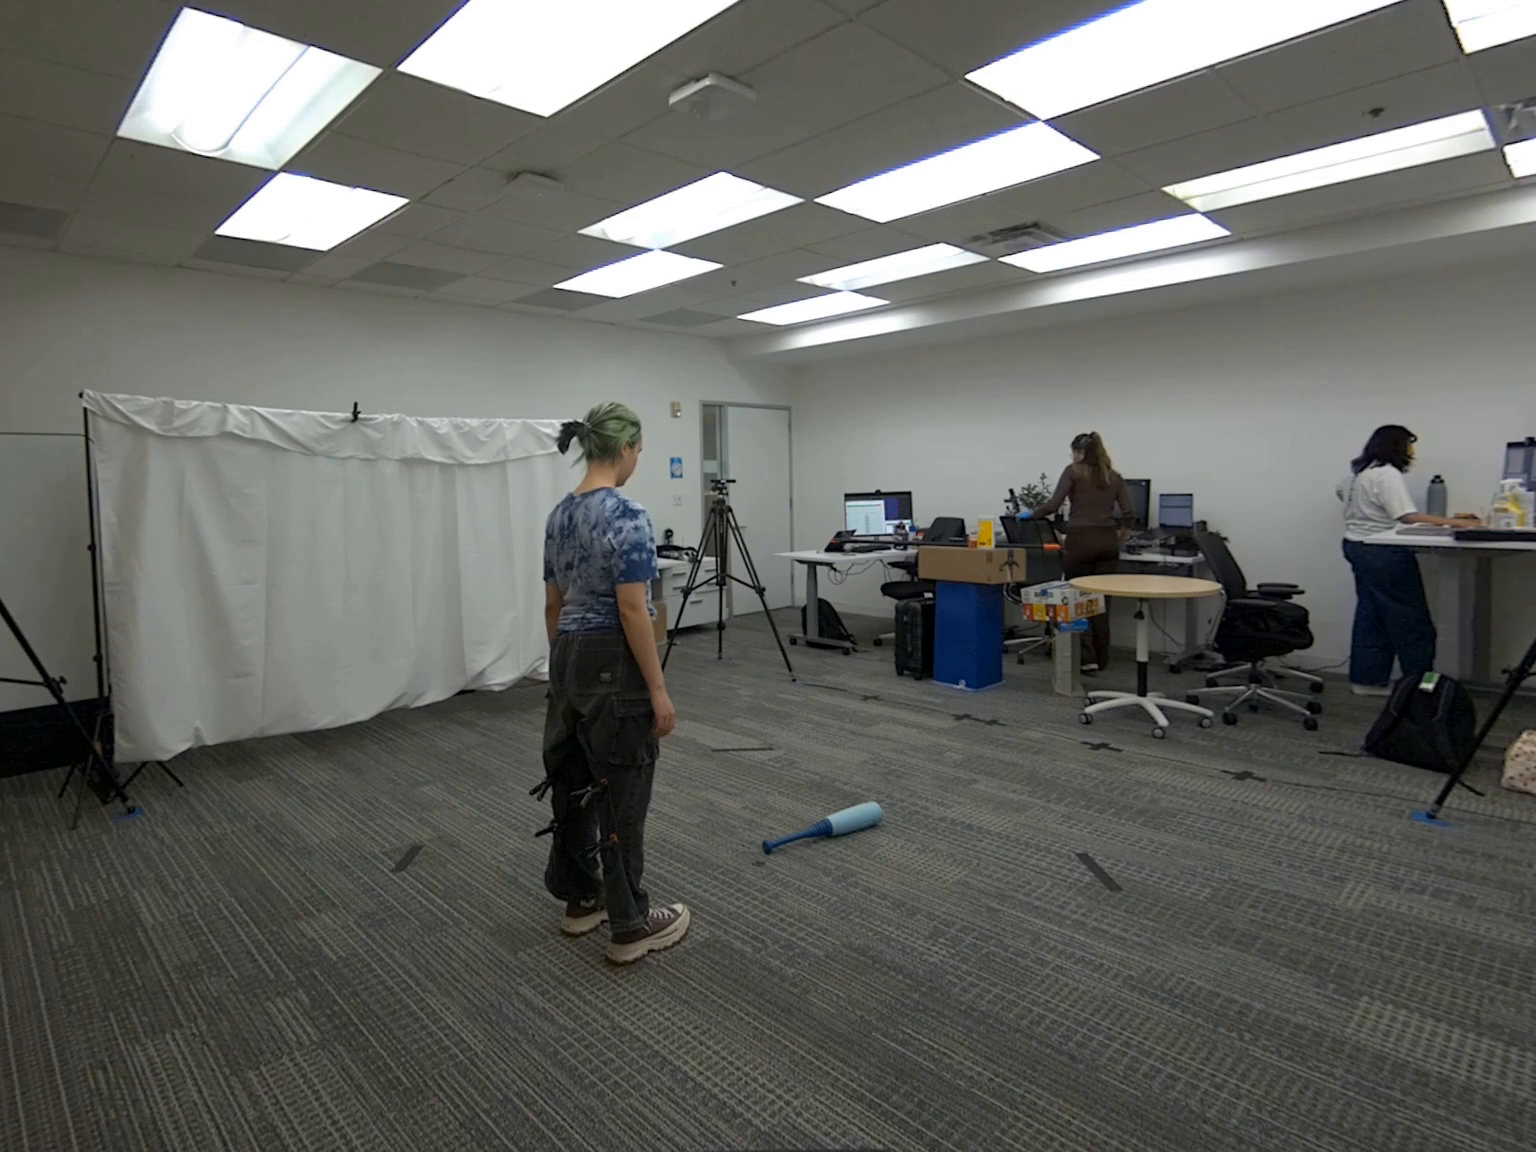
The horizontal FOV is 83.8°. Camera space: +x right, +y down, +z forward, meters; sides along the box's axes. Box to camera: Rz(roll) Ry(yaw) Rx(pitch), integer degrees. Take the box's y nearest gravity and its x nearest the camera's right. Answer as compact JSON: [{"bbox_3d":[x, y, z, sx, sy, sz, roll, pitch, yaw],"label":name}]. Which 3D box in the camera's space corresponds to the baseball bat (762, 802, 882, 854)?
[{"bbox_3d":[0.217,0.986,3.319,0.531,0.088,0.091,-8,8,-29],"label":"baseball bat"}]
